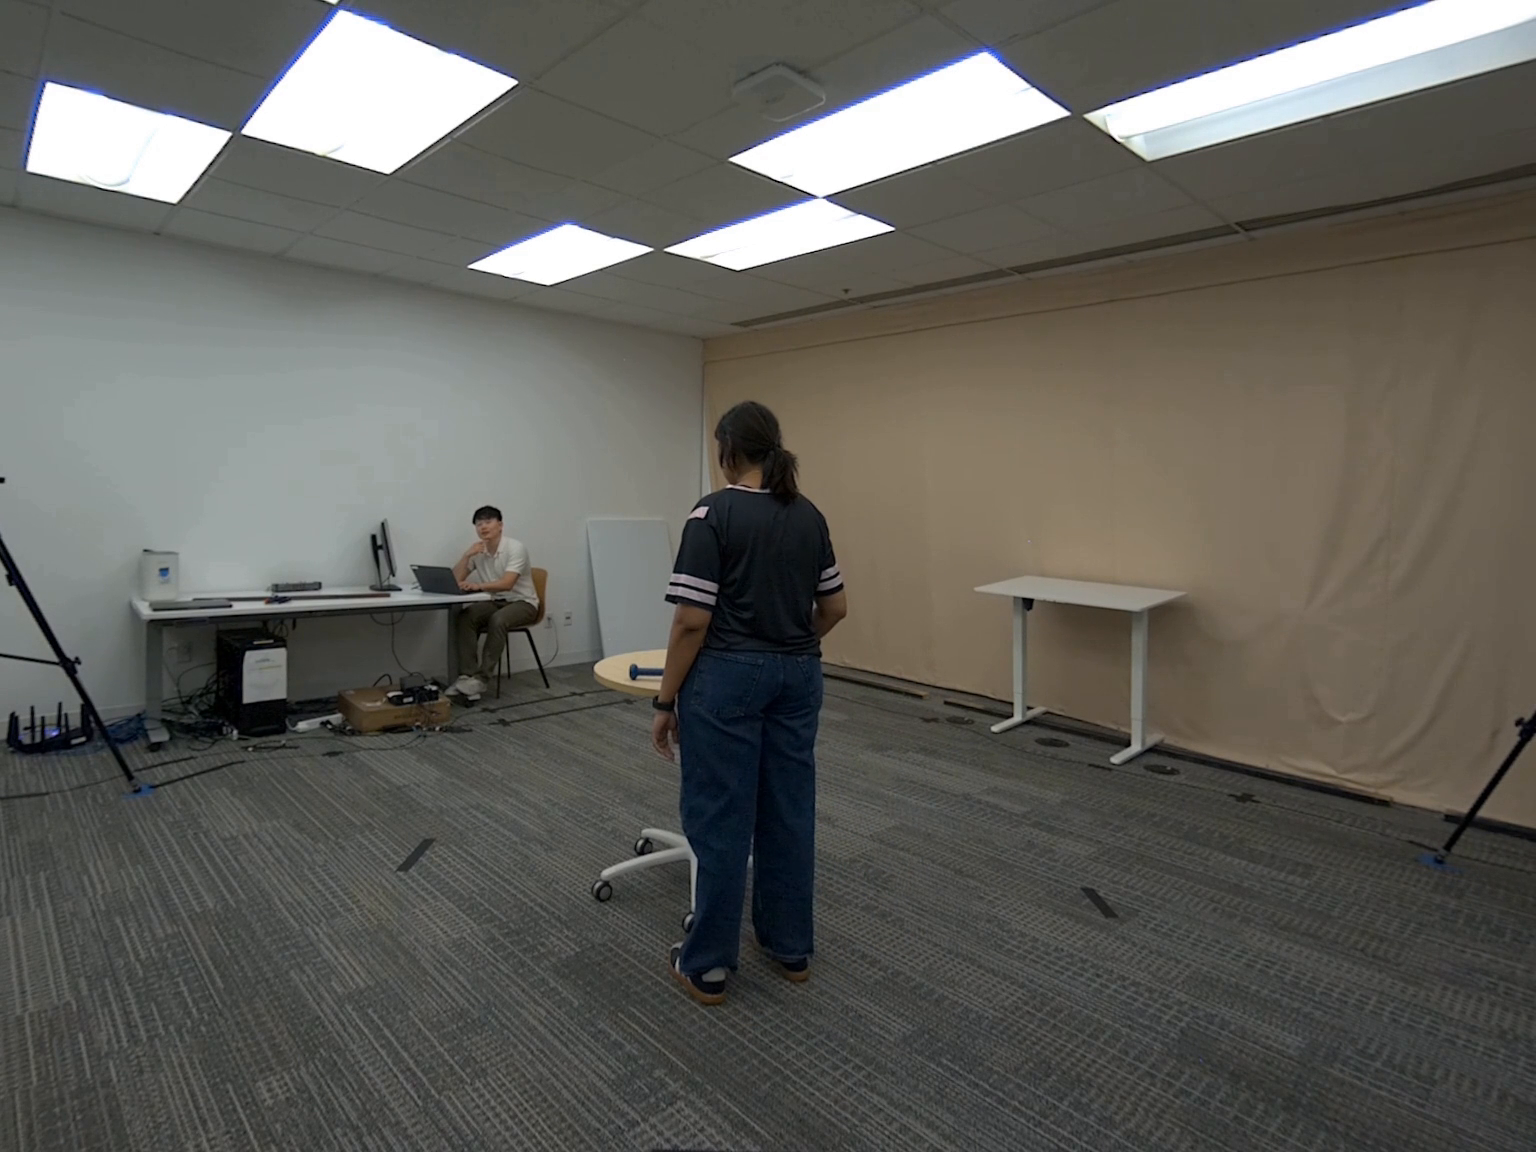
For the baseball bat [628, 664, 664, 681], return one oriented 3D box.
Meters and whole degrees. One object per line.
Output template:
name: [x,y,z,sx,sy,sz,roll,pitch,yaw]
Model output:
baseball bat: [-0.181,0.319,2.731,0.544,0.089,0.089,-2,4,2]
